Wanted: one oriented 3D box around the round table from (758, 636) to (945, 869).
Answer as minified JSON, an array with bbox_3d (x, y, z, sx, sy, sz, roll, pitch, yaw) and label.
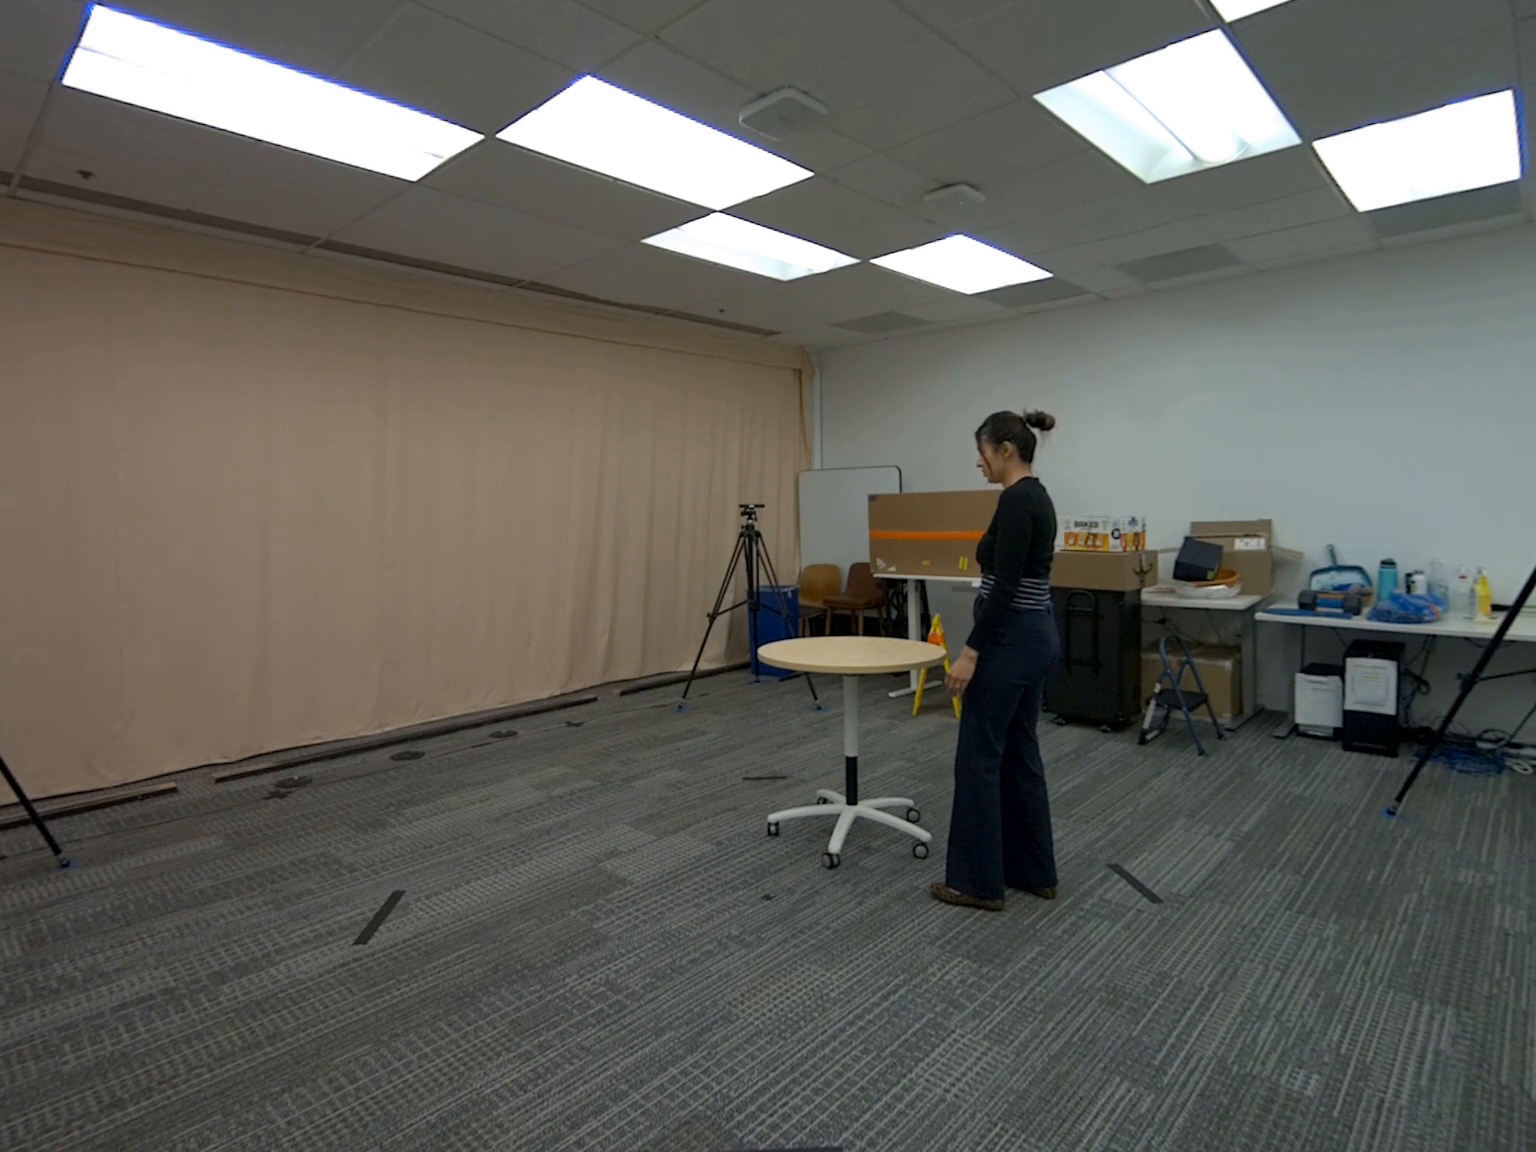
[{"bbox_3d":[0.351,0.700,3.490,0.763,0.792,0.766,-1,3,-2],"label":"round table"}]
